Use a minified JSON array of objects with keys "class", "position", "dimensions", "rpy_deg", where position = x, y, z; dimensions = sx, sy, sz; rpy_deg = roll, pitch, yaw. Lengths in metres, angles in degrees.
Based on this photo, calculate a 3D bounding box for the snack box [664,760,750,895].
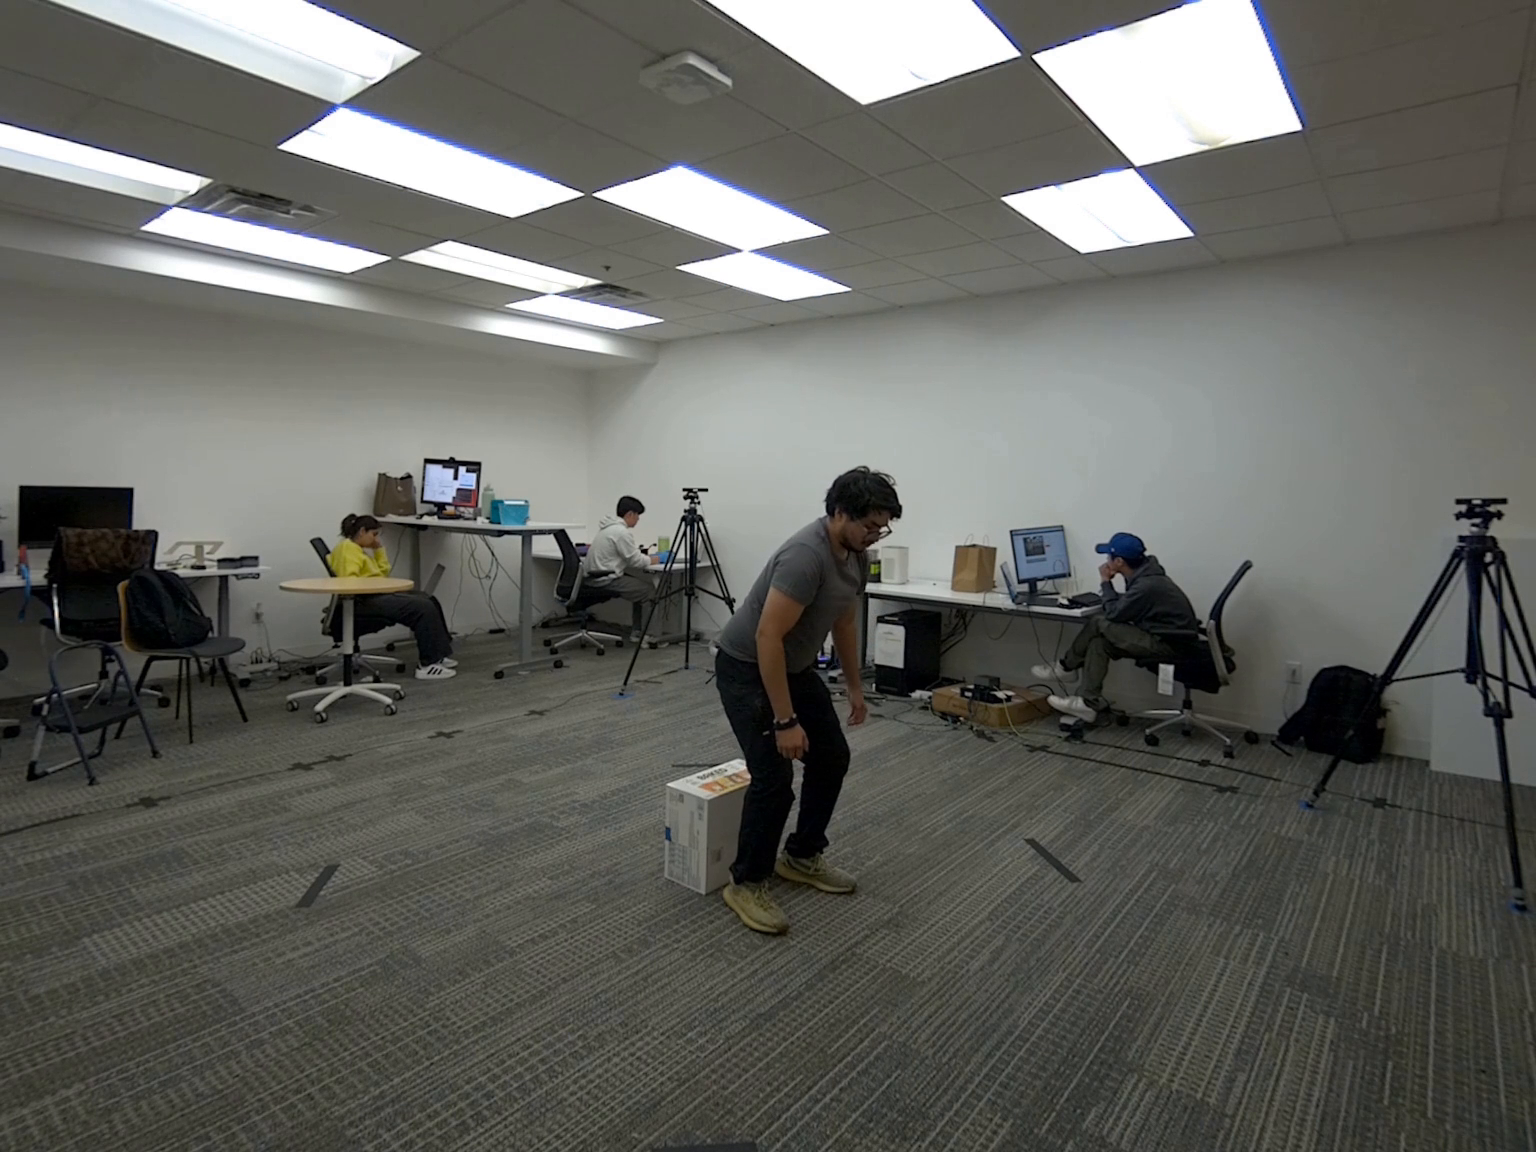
[{"class":"snack box","position":[-0.174,0.901,3.109],"dimensions":[0.212,0.339,0.393],"rpy_deg":[4,5,40]}]
